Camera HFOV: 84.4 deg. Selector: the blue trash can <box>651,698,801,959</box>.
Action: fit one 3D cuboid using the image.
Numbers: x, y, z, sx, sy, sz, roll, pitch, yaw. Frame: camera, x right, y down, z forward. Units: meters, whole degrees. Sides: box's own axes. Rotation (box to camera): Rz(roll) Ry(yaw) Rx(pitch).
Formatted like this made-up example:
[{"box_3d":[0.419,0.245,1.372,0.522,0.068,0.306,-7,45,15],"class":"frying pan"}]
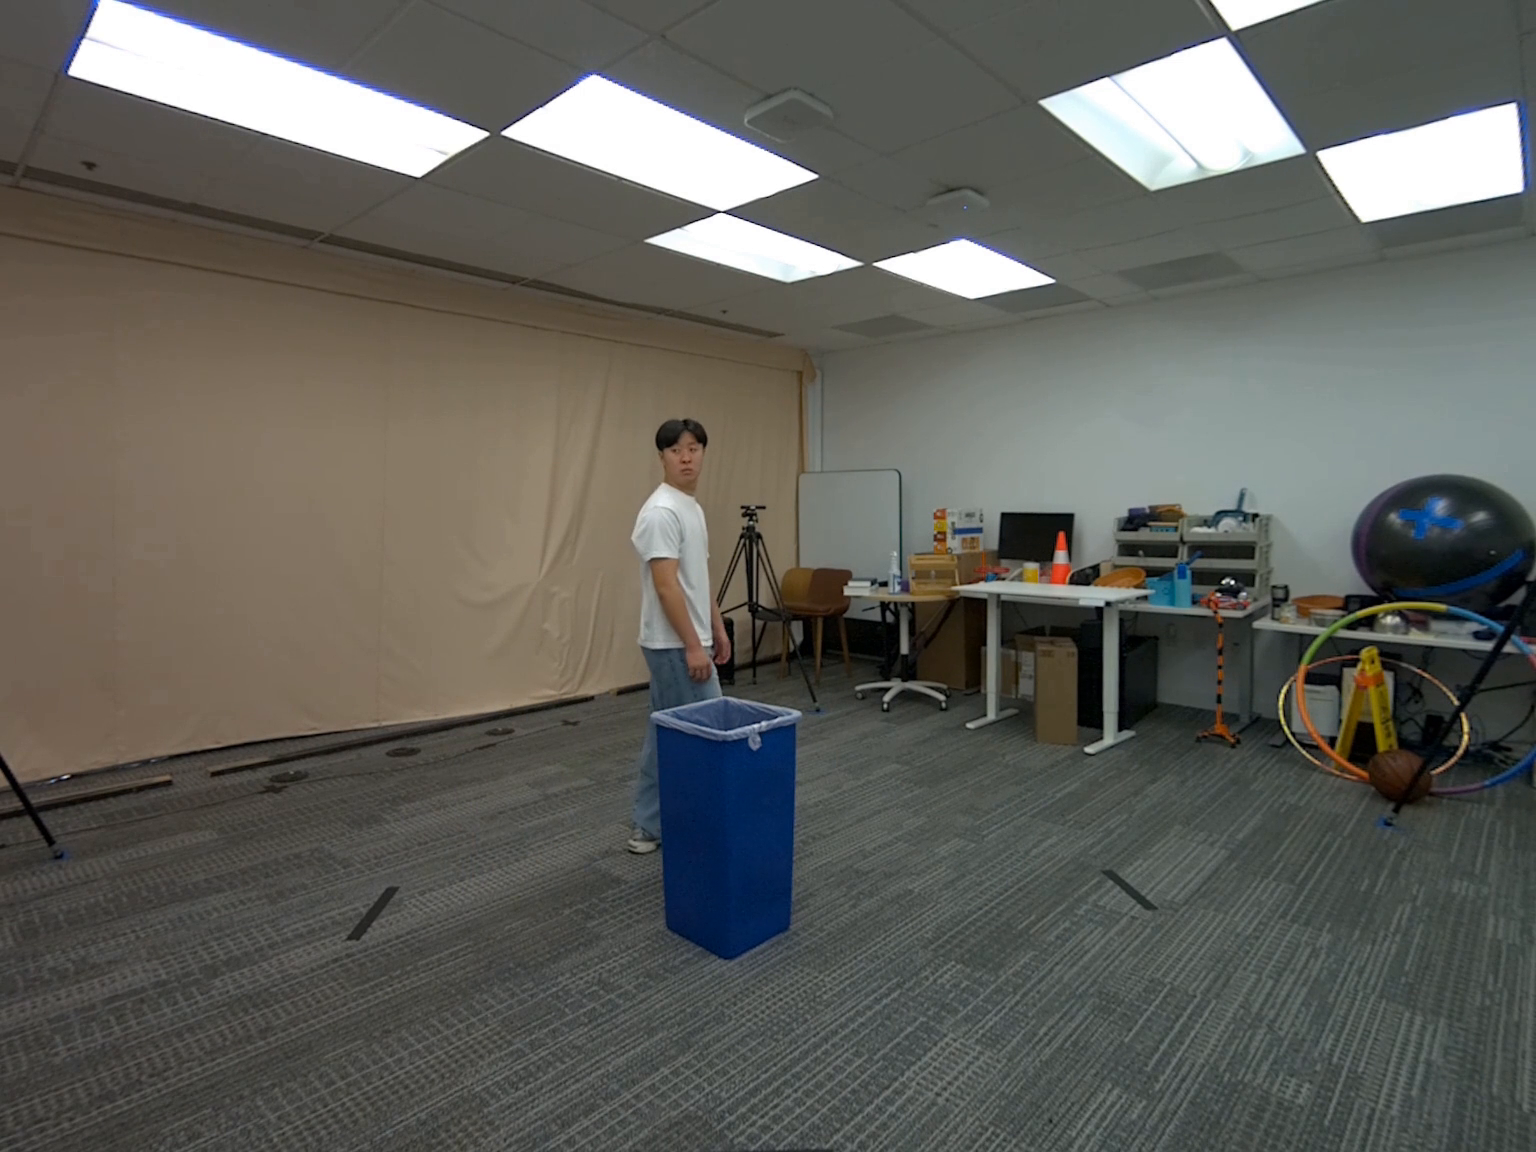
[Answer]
[{"box_3d":[-0.136,0.803,2.767,0.386,0.712,0.366,3,4,43],"class":"blue trash can"}]
